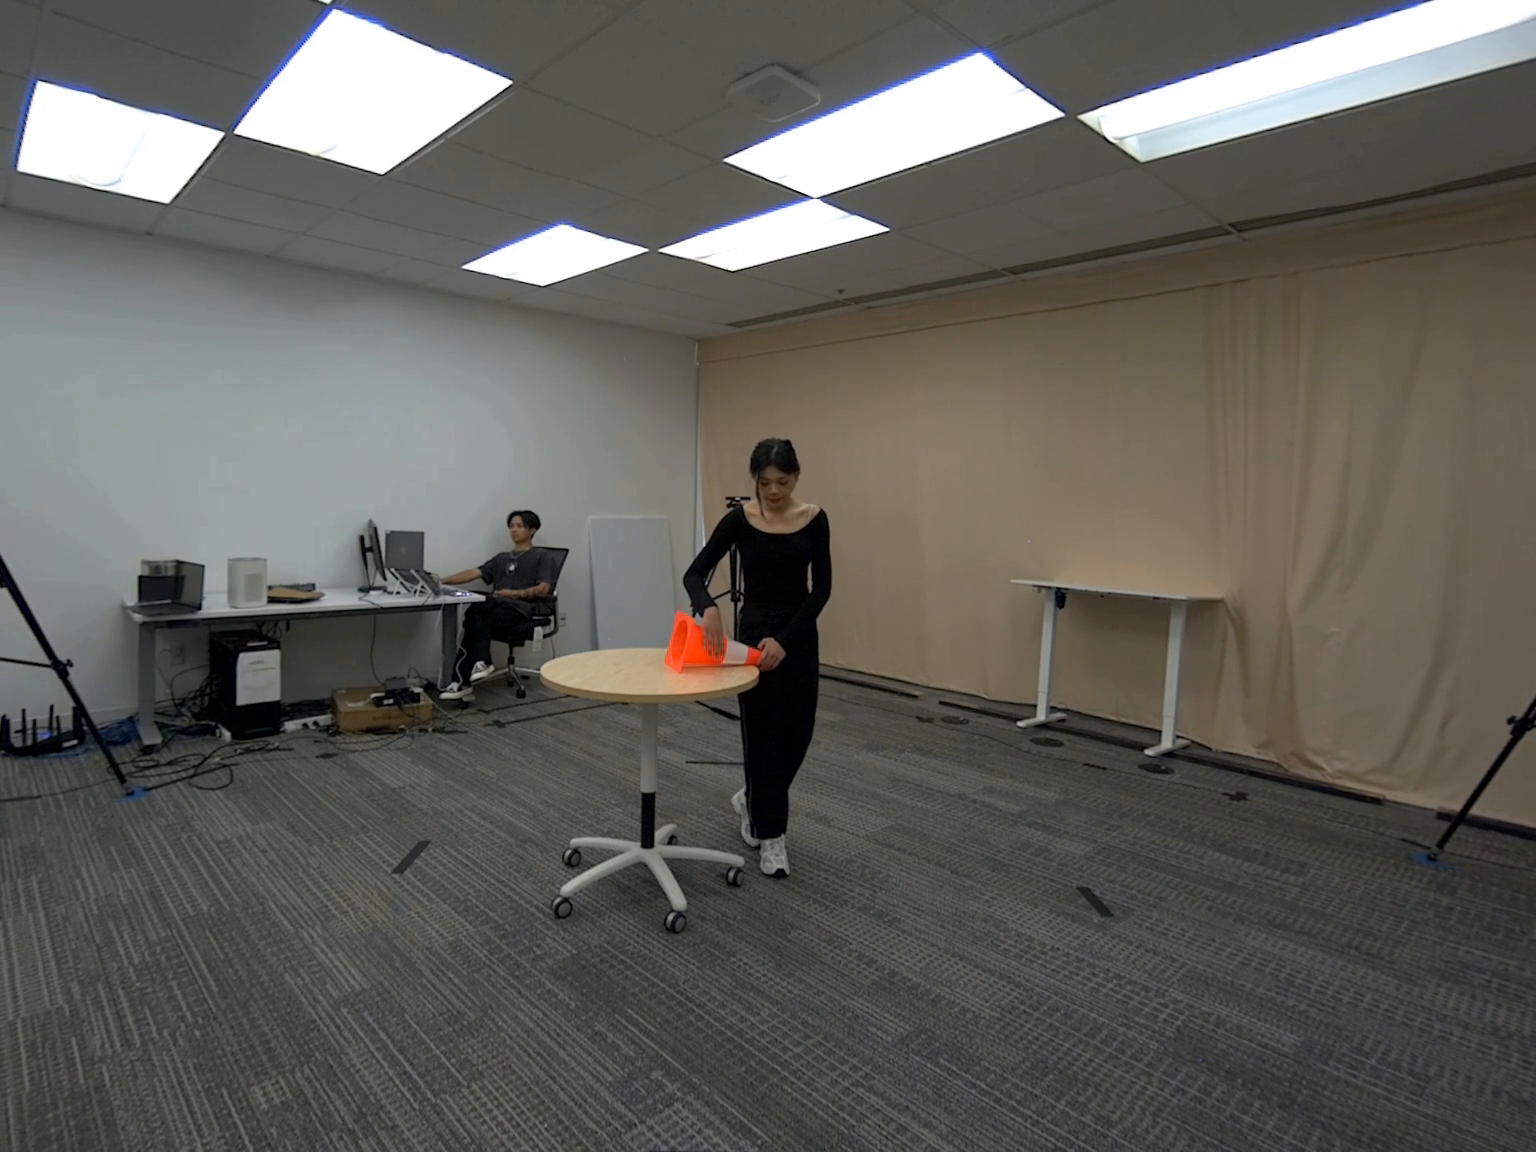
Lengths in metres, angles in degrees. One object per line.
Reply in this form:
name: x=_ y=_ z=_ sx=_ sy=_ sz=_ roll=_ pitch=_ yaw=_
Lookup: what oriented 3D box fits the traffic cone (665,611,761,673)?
traffic cone: x=-0.157 y=0.274 z=3.042 sx=0.378 sy=0.203 sz=0.208 roll=14 pitch=3 yaw=-15
